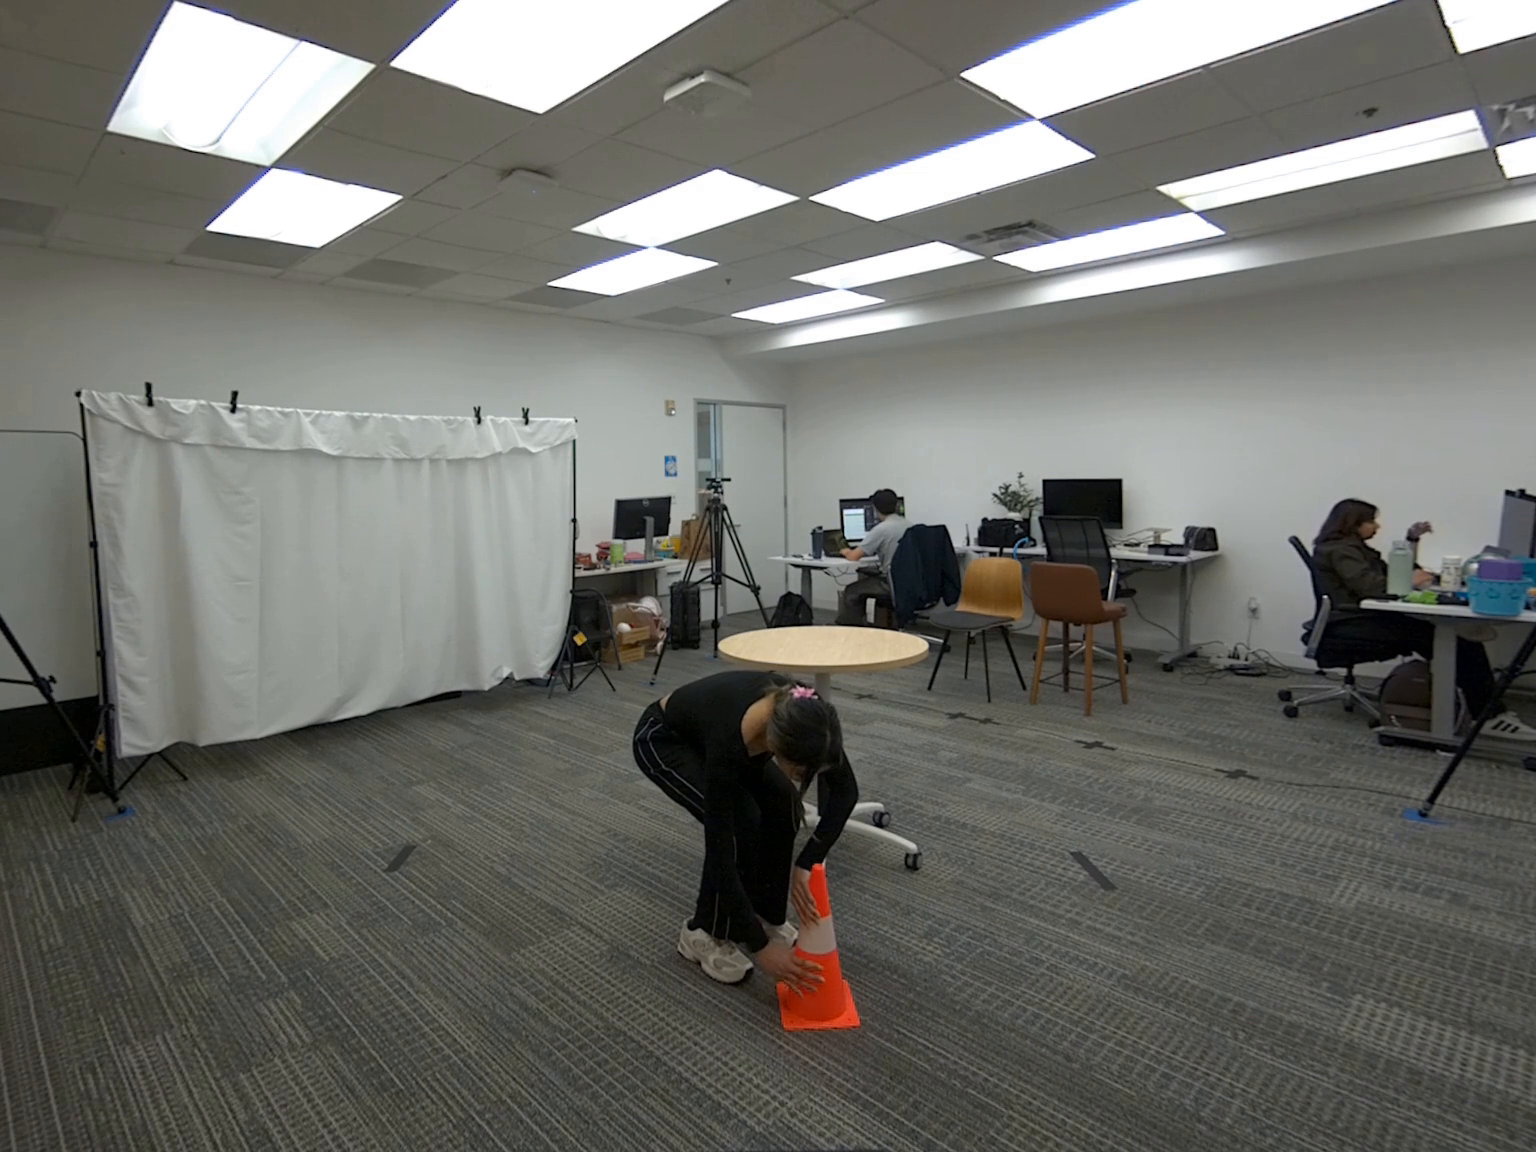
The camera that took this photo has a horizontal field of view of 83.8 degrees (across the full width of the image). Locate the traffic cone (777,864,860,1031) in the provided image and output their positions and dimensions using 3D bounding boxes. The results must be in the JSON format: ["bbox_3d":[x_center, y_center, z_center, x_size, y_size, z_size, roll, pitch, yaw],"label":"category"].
[{"bbox_3d":[0.140,0.959,2.266,0.204,0.384,0.204,2,0,3],"label":"traffic cone"}]
